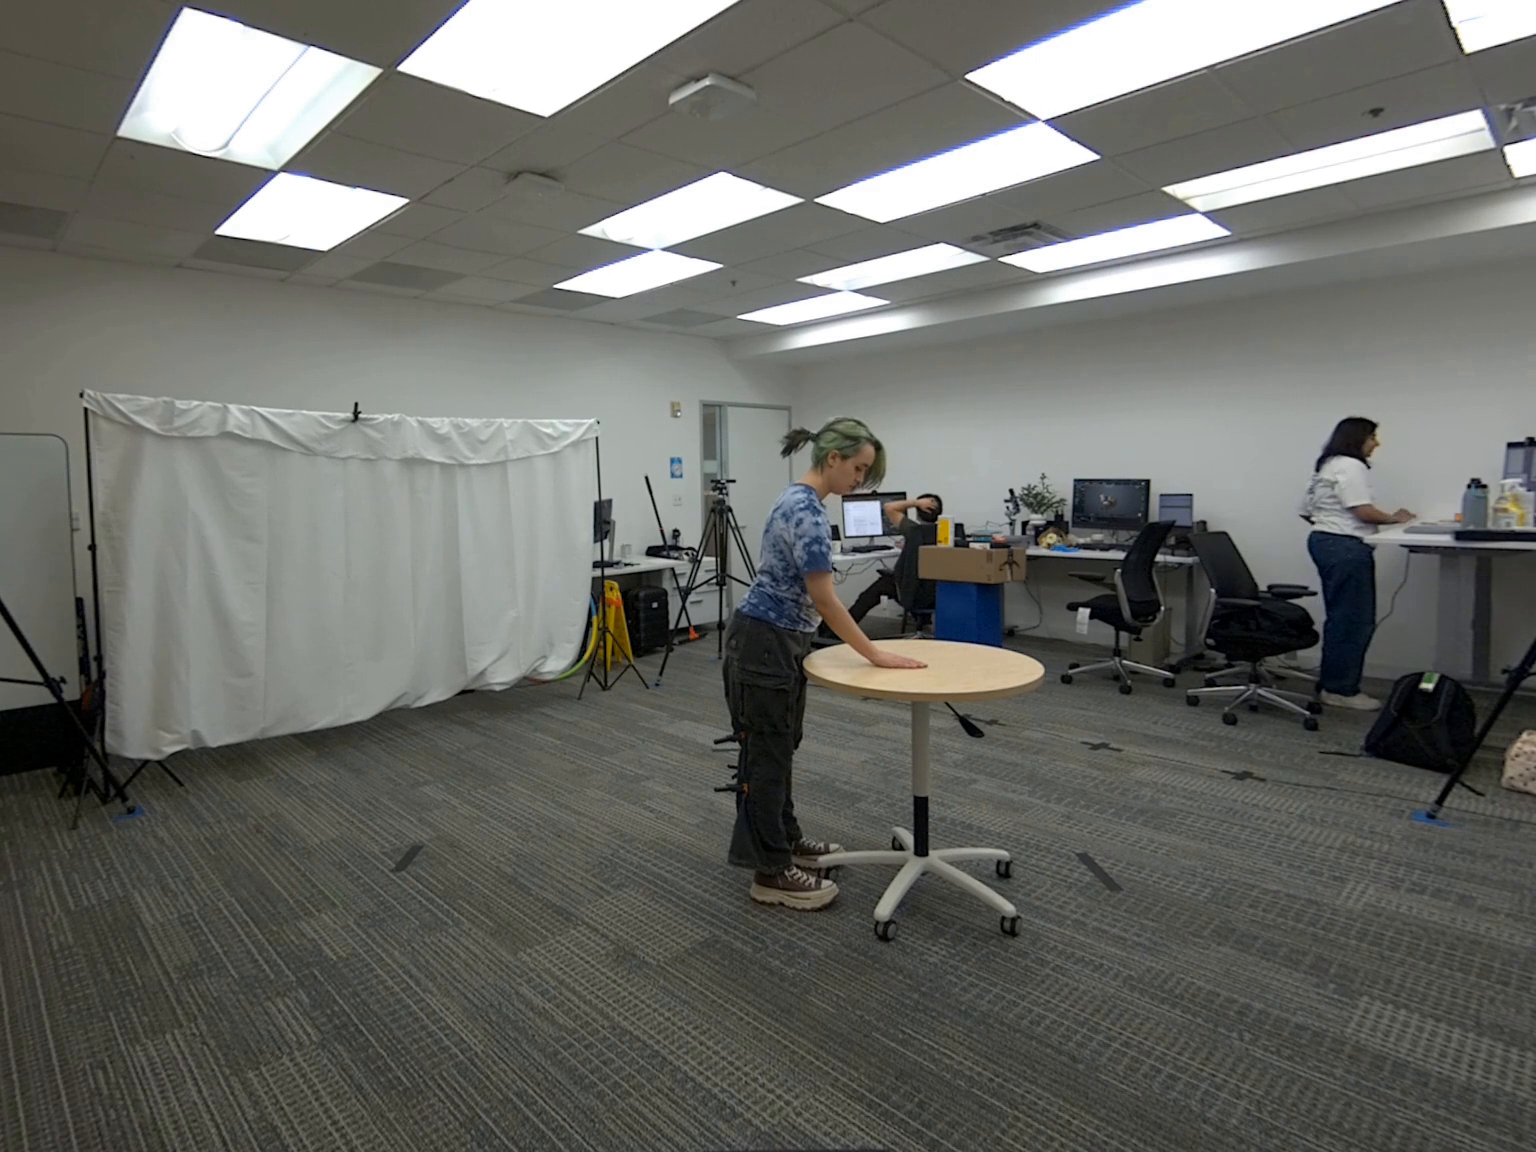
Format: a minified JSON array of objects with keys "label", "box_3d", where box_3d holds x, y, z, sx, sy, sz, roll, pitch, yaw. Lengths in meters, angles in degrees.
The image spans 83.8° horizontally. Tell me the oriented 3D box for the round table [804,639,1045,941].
[{"label":"round table","box_3d":[0.496,0.674,2.817,0.784,0.783,0.789,-1,5,-2]}]
